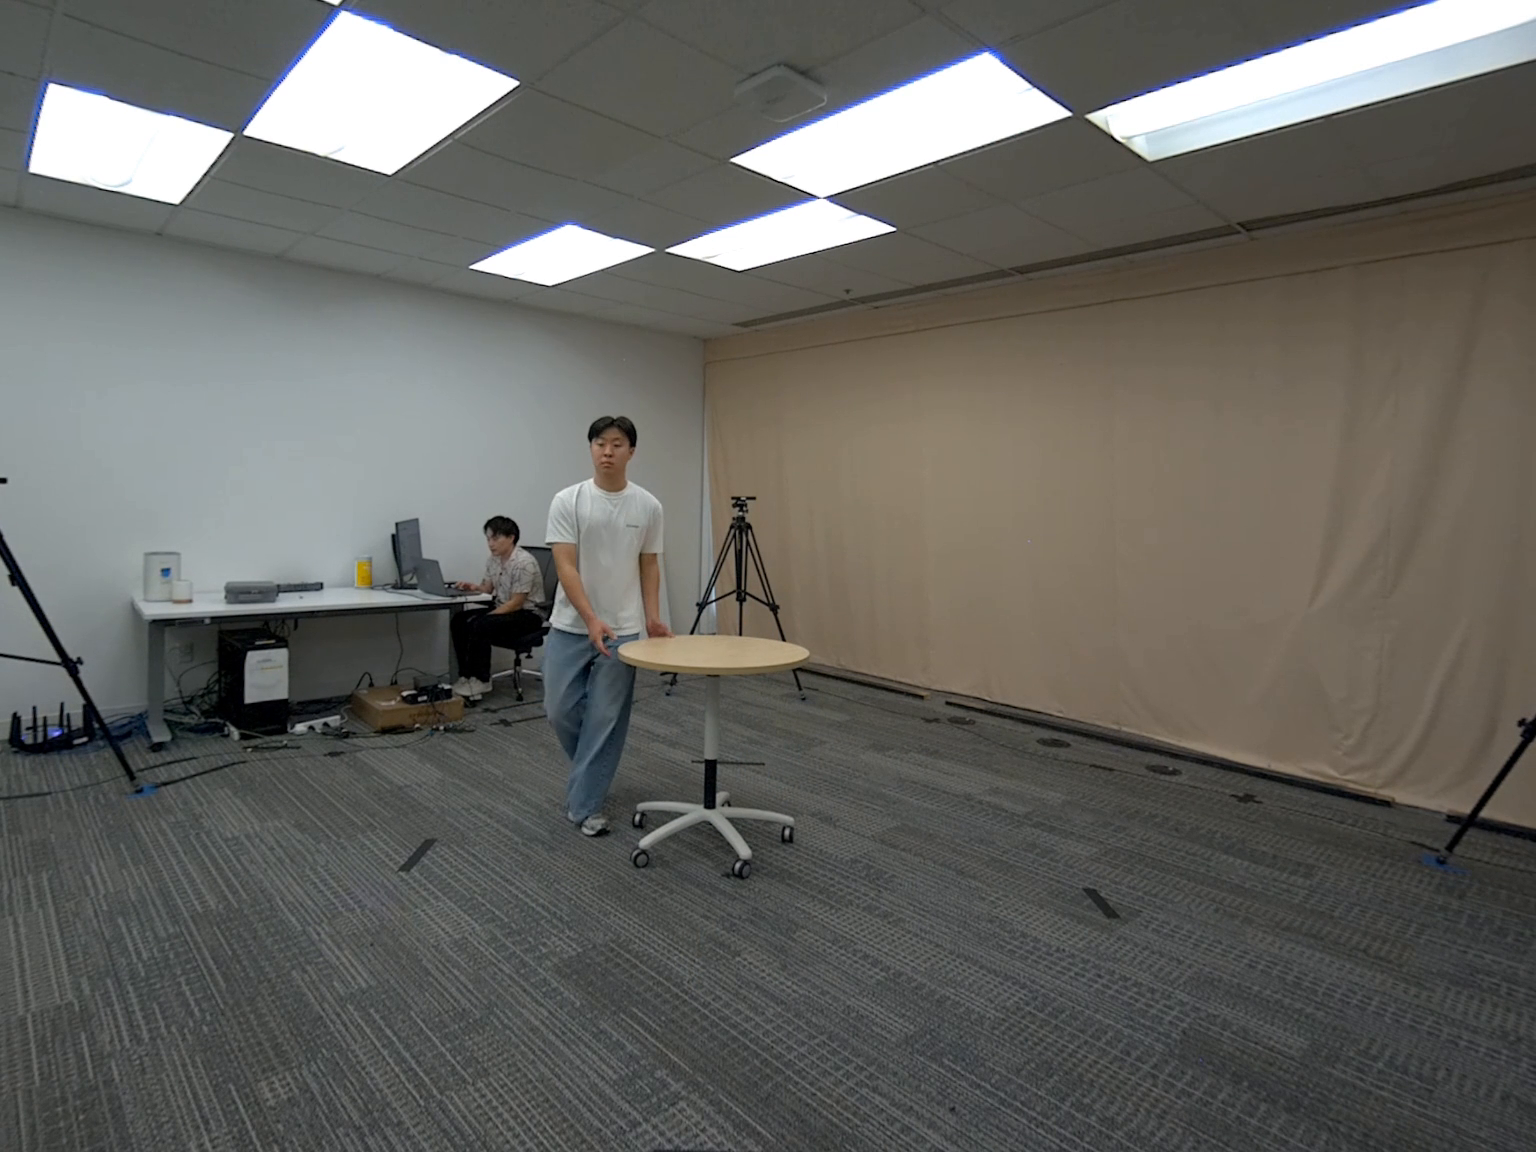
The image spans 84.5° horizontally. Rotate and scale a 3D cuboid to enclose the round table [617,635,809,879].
[{"bbox_3d":[-0.232,0.690,3.385,0.763,0.792,0.766,1,3,-1],"label":"round table"}]
